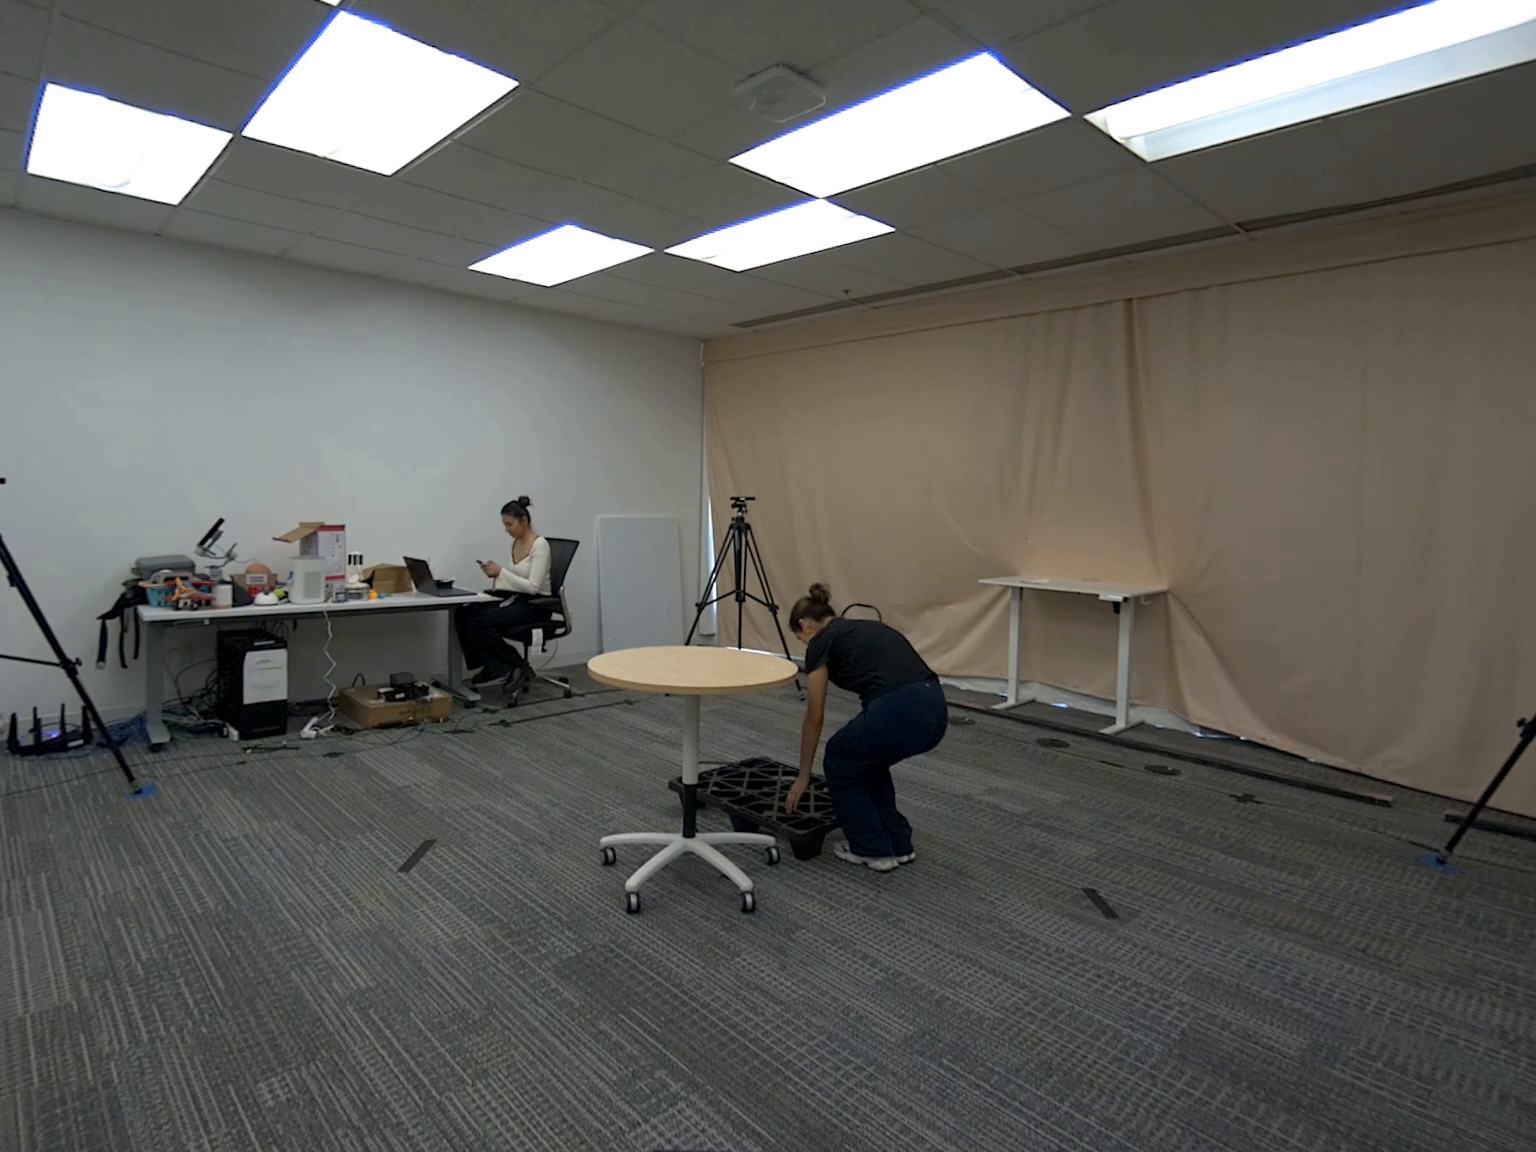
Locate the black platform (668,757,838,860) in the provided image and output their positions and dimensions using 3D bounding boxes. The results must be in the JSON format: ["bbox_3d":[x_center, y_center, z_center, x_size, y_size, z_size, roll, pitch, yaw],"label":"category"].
[{"bbox_3d":[0.031,0.999,3.653,0.591,0.143,0.826,-4,8,-45],"label":"black platform"}]
